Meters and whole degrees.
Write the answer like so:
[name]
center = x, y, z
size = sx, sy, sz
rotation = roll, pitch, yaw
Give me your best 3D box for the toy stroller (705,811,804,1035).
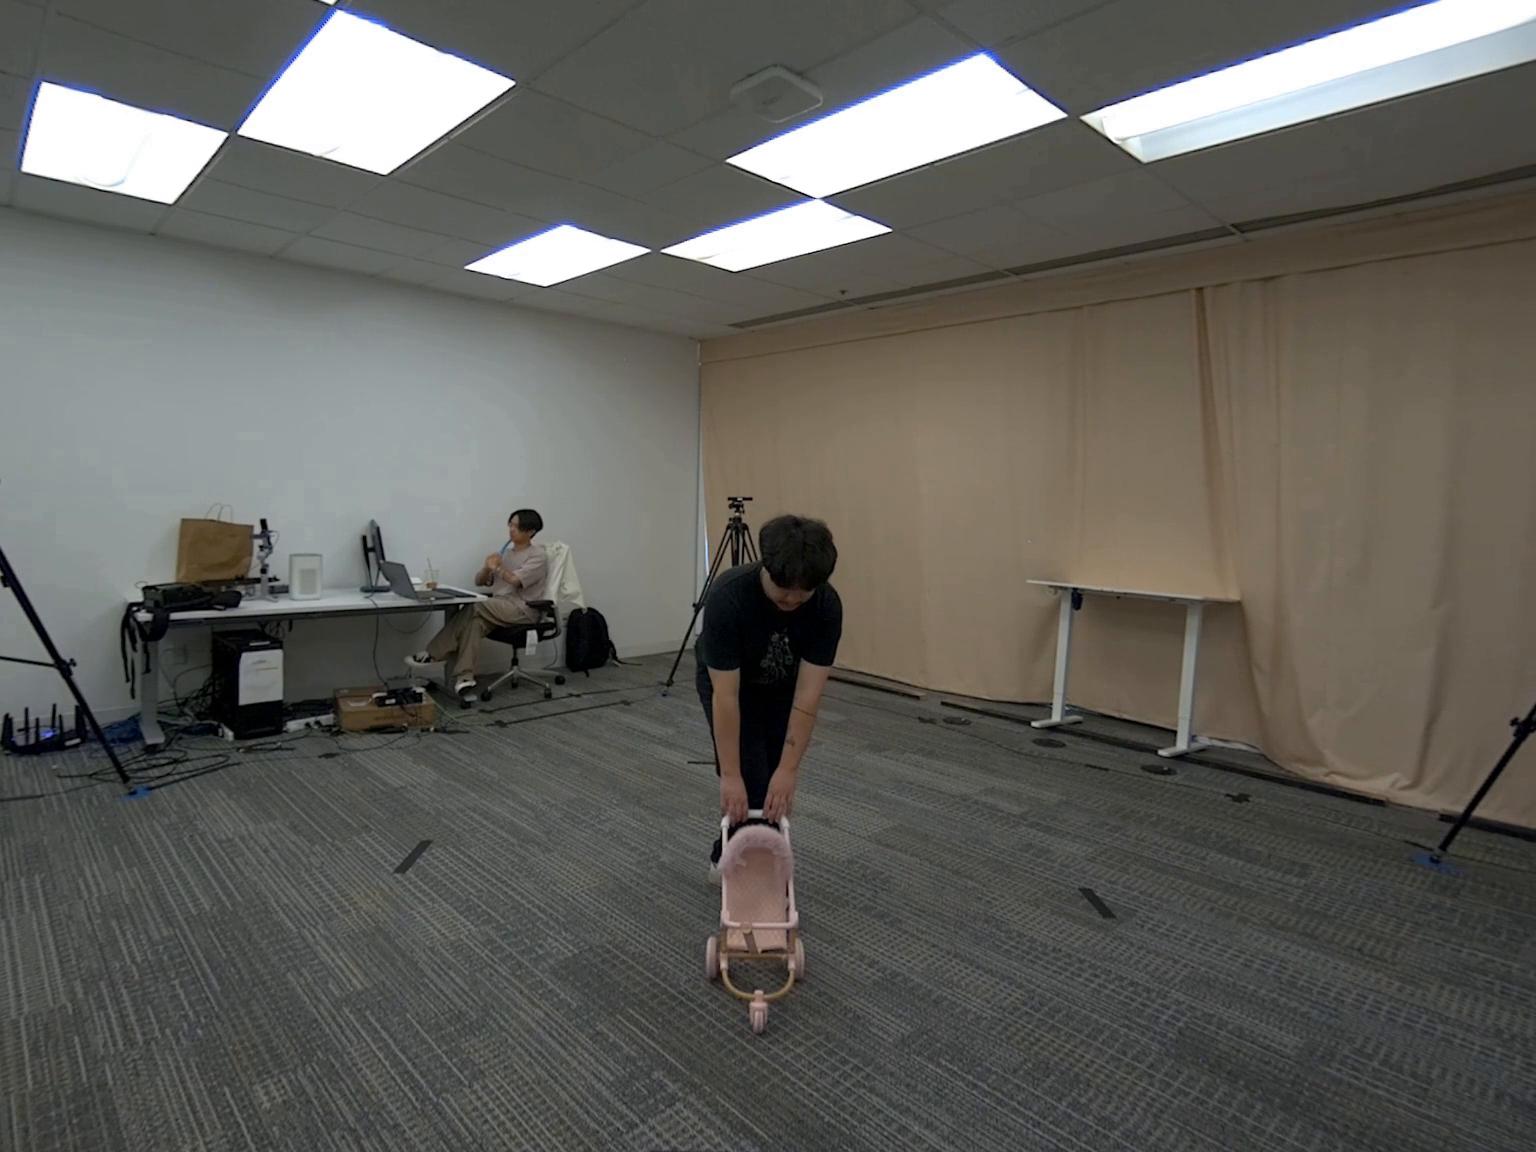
[toy stroller]
center = -0.044, 0.957, 2.374
size = 0.282, 0.540, 0.338
rotation = 1, -12, 1
